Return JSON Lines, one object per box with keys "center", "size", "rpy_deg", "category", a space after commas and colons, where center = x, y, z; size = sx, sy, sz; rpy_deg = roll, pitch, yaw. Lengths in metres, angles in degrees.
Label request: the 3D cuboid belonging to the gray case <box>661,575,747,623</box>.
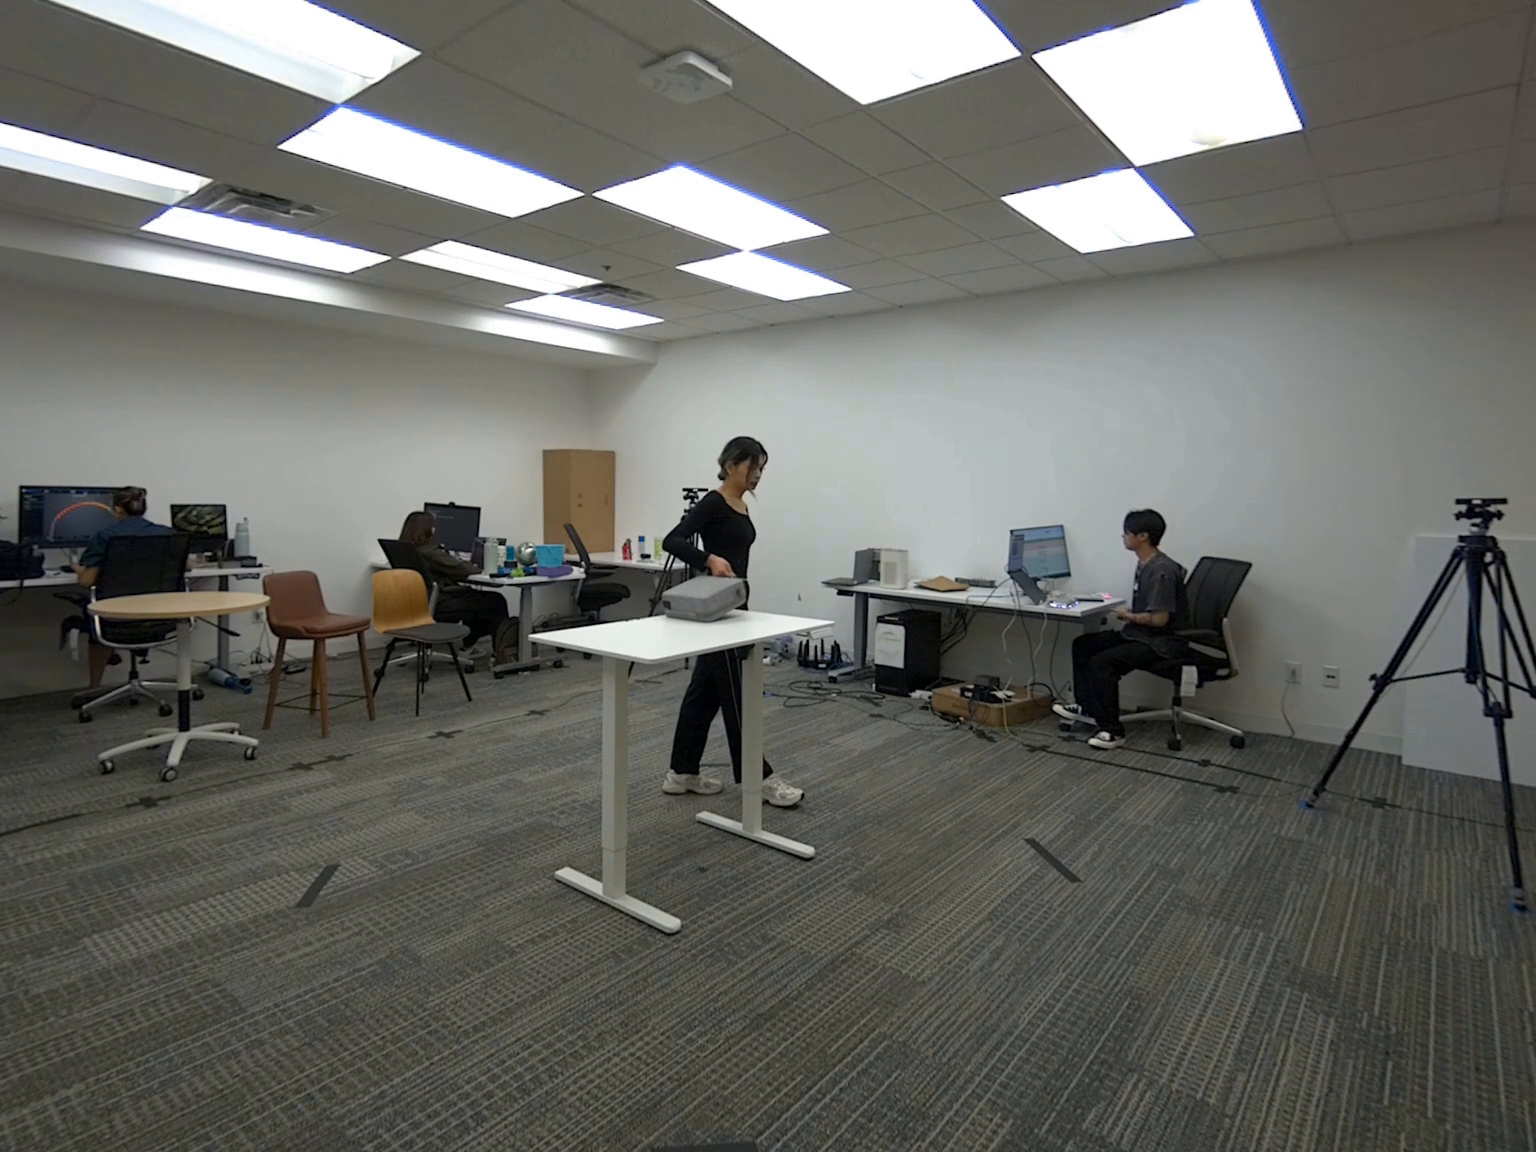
{"center": [-0.259, 0.082, 3.357], "size": [0.265, 0.103, 0.256], "rpy_deg": [3, 20, 41], "category": "gray case"}
